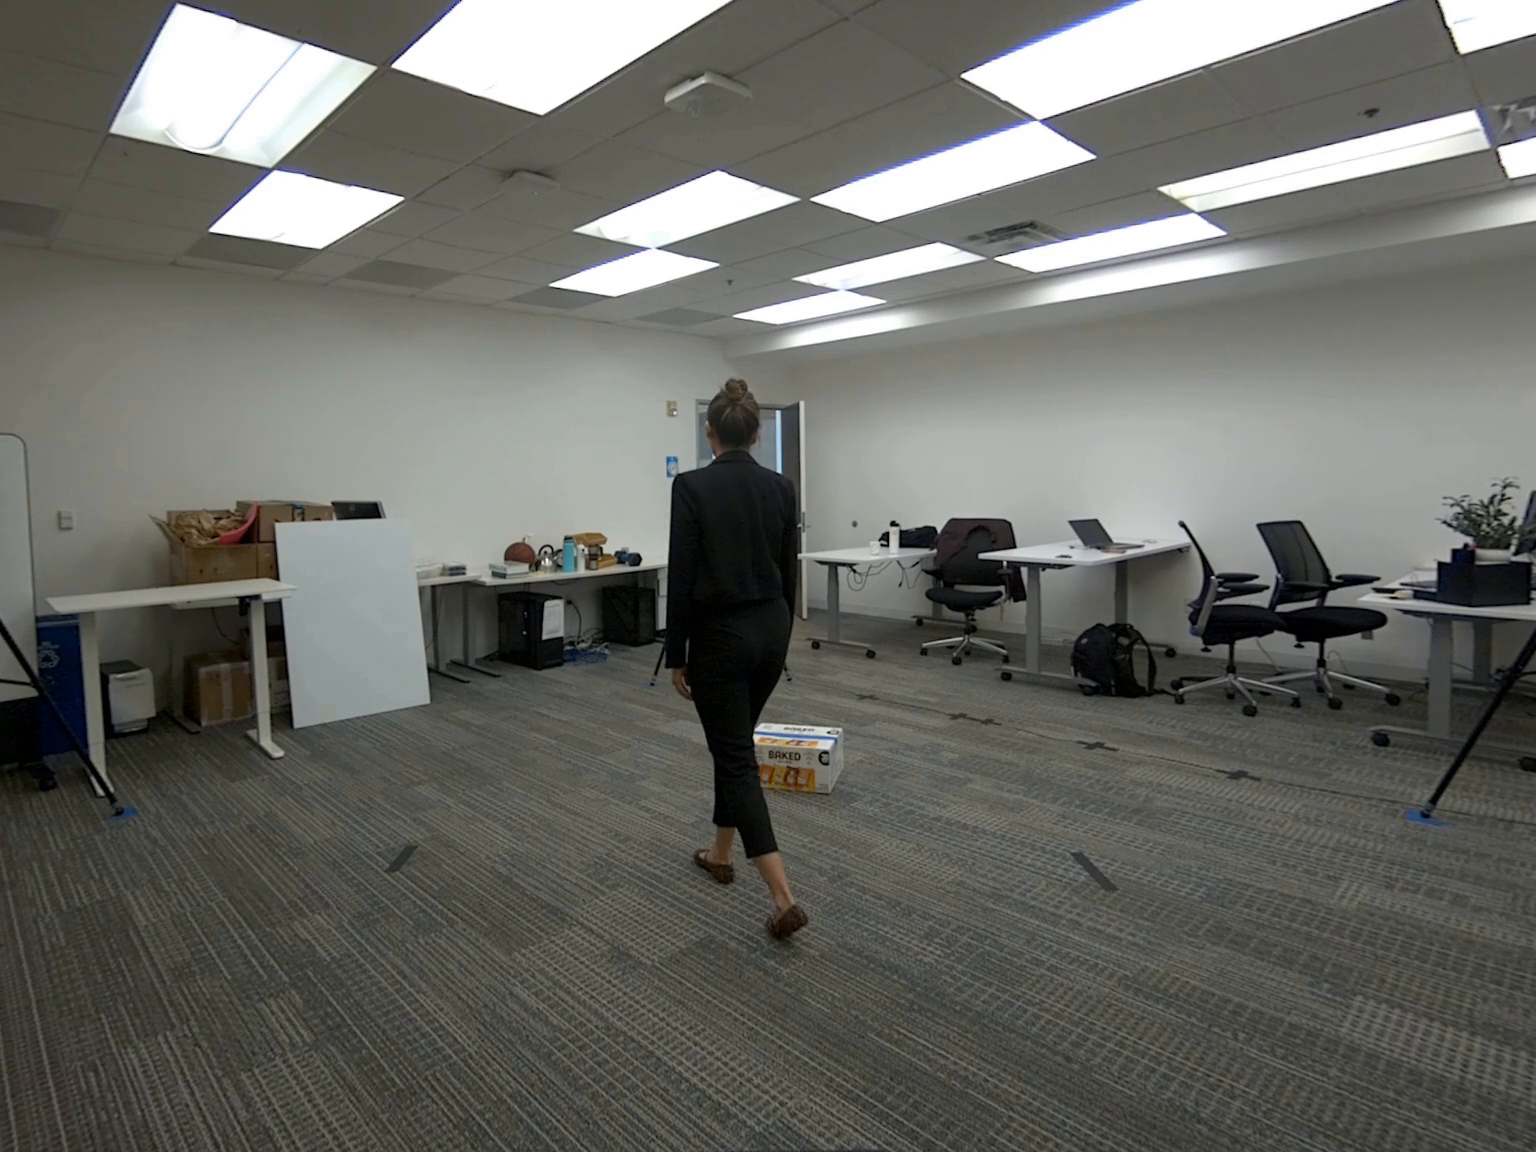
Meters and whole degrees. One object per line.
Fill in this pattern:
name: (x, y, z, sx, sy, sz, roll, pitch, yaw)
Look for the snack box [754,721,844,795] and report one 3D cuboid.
snack box: (0.121, 0.843, 3.986, 0.412, 0.205, 0.336, 0, 6, 16)
